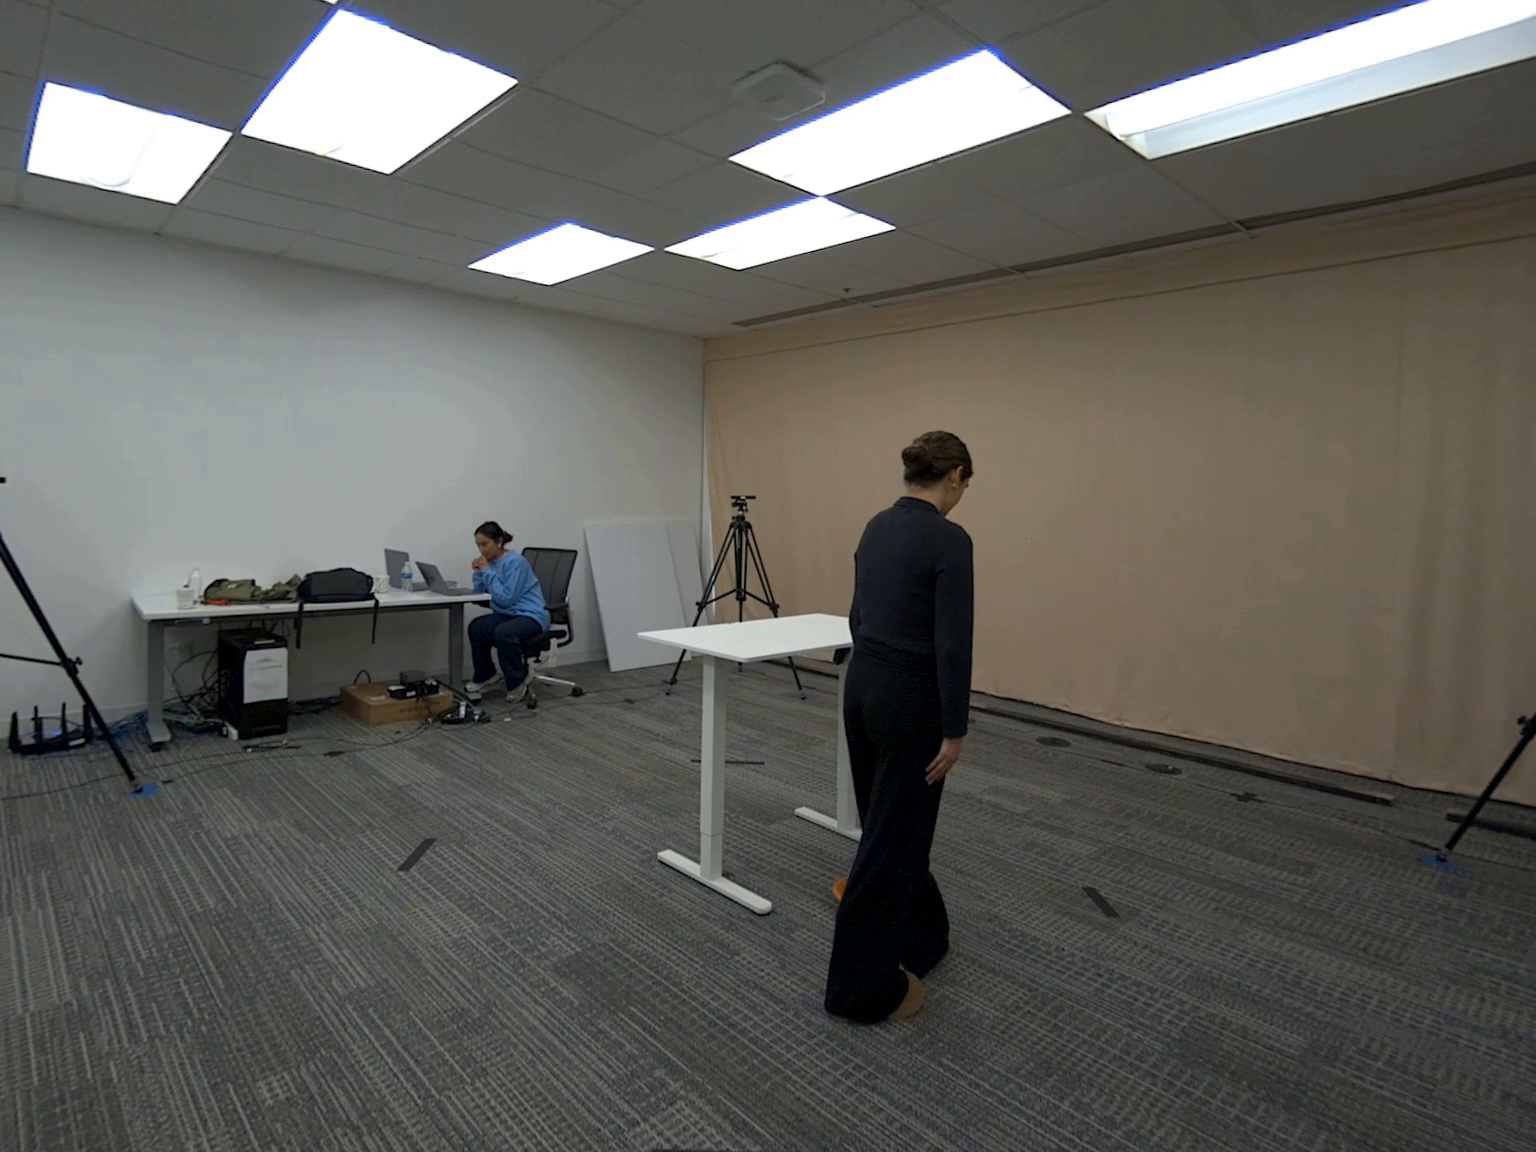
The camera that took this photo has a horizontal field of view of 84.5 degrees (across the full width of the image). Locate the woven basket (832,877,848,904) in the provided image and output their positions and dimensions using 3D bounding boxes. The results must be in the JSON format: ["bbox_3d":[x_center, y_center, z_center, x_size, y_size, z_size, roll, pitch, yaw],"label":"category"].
[{"bbox_3d":[0.380,1.093,2.878,0.342,0.073,0.259,-2,6,-38],"label":"woven basket"}]
